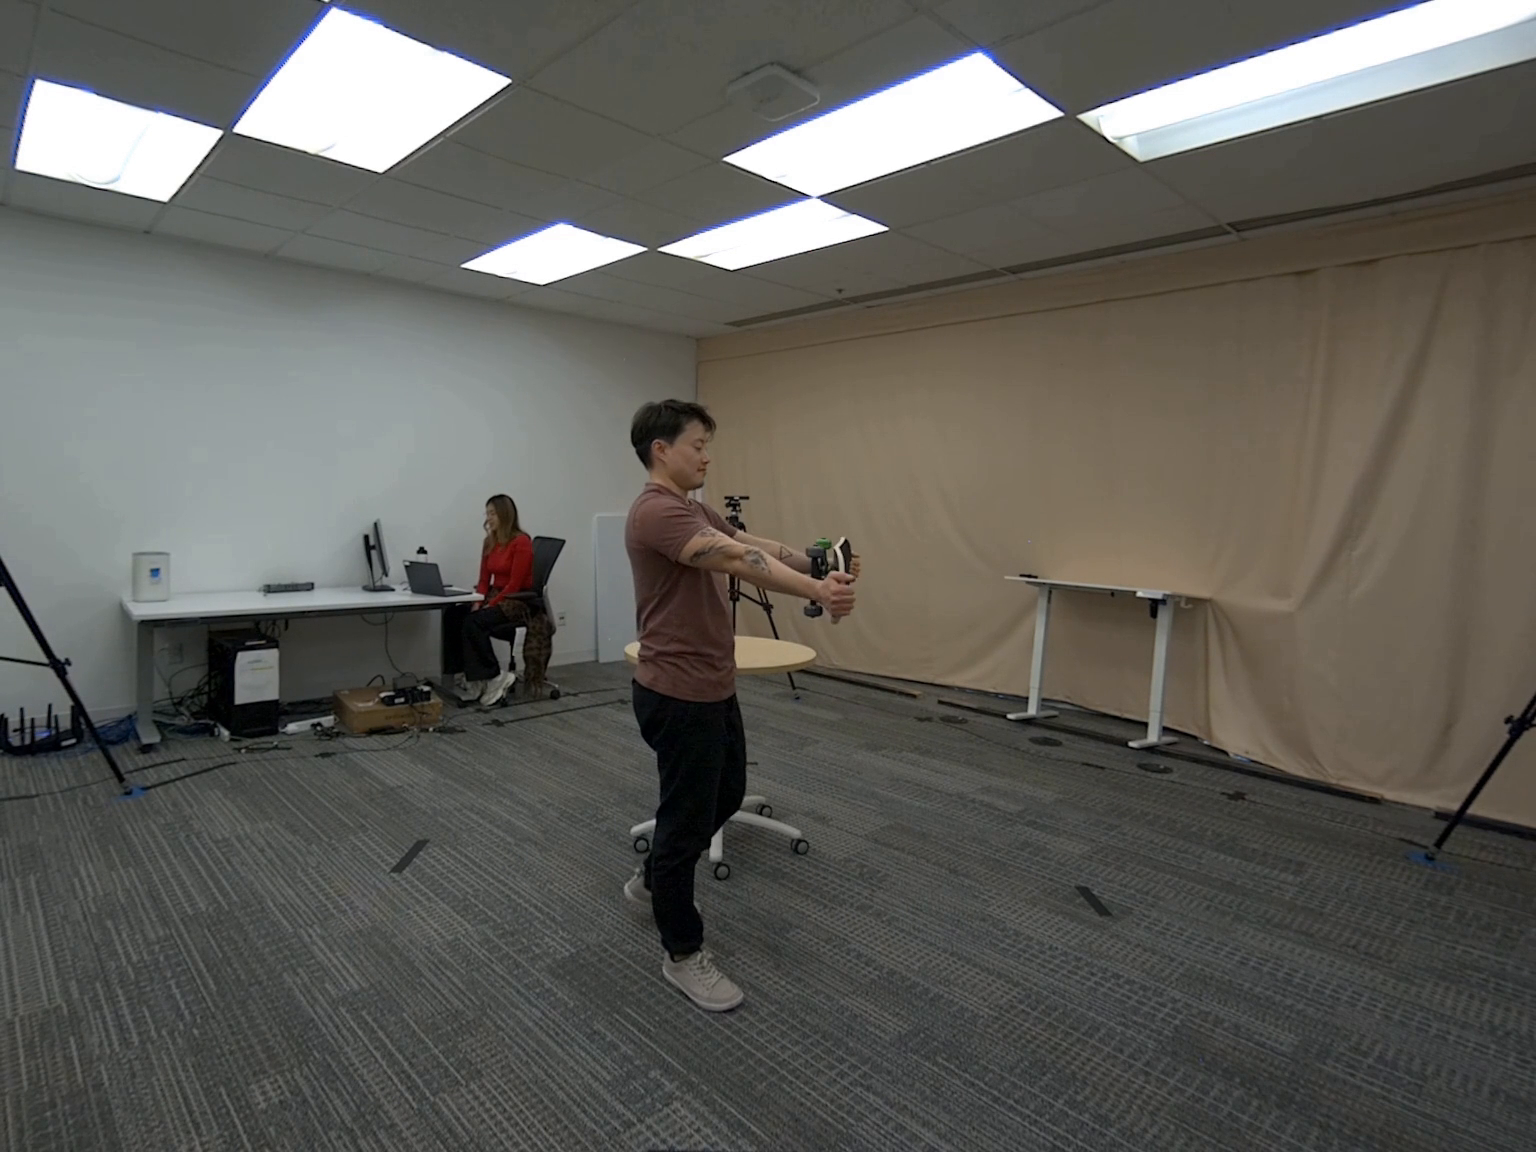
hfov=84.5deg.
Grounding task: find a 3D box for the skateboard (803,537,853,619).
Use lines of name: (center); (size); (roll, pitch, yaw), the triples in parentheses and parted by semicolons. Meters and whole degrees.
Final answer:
skateboard: (0.165, 0.001, 2.389); (0.111, 0.193, 0.781); (2, 5, 8)
